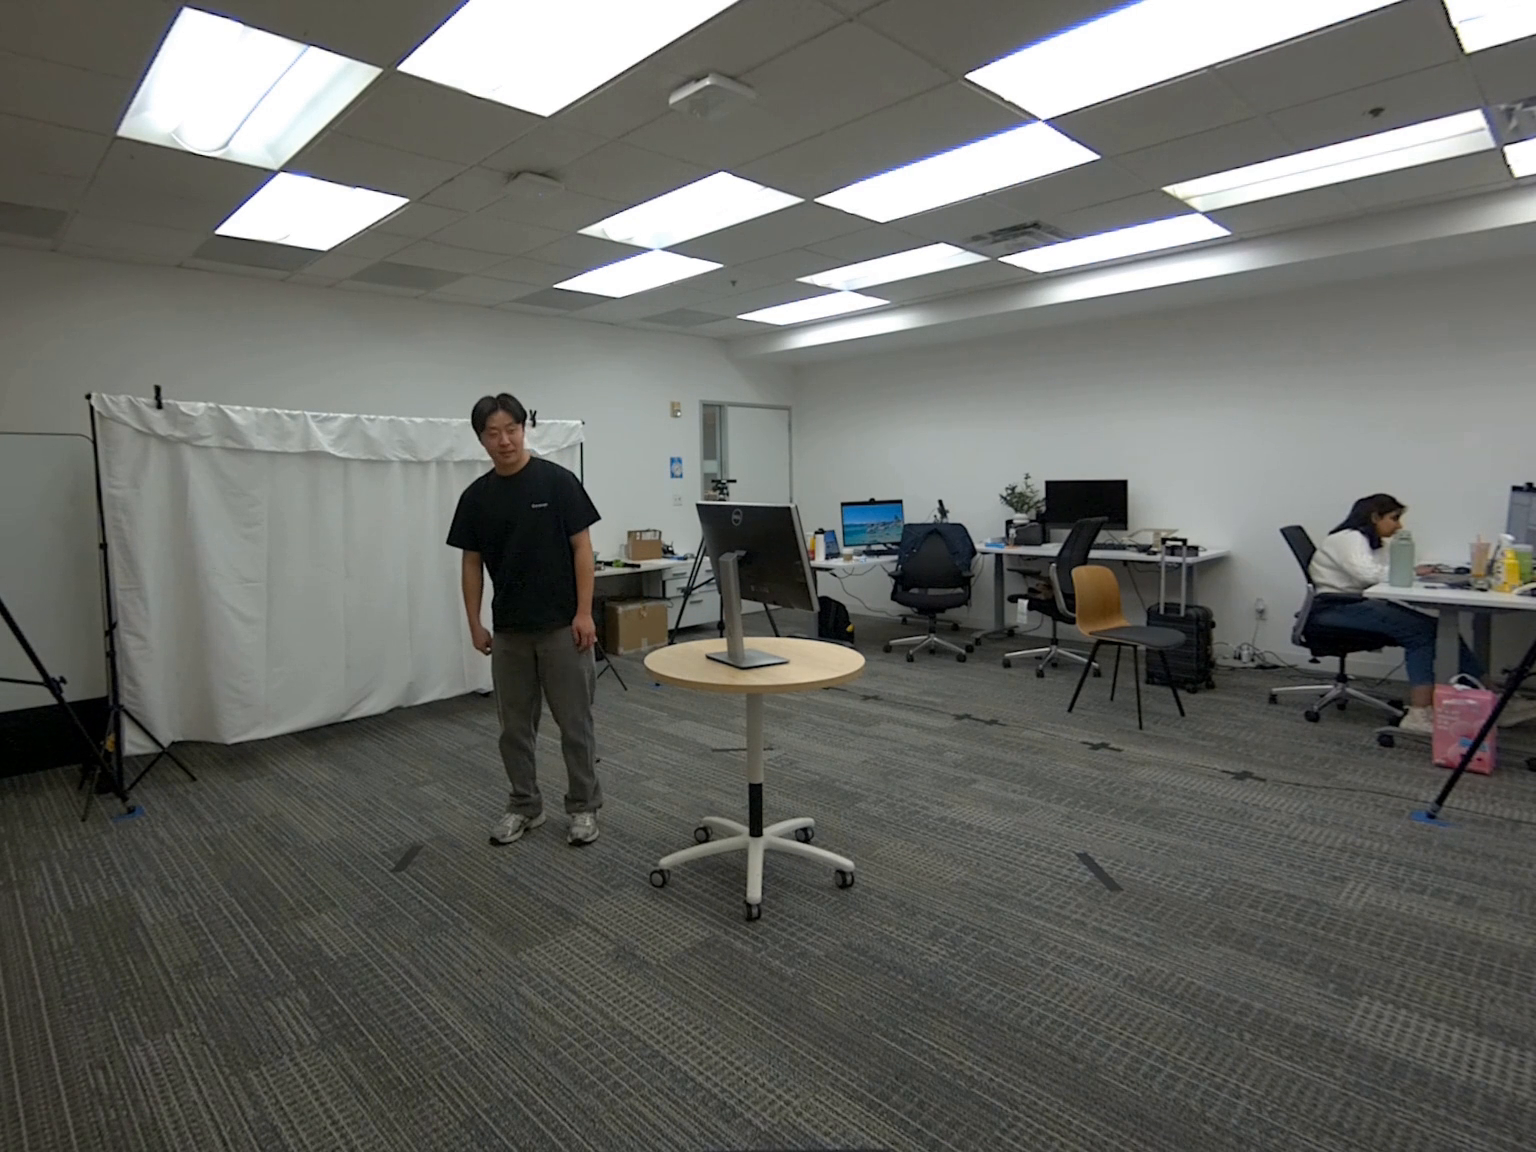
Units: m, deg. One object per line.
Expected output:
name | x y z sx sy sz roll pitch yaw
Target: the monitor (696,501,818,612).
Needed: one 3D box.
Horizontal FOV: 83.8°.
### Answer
monitor | -0.067 0.029 2.931 0.216 0.564 0.578 -2 6 -33
